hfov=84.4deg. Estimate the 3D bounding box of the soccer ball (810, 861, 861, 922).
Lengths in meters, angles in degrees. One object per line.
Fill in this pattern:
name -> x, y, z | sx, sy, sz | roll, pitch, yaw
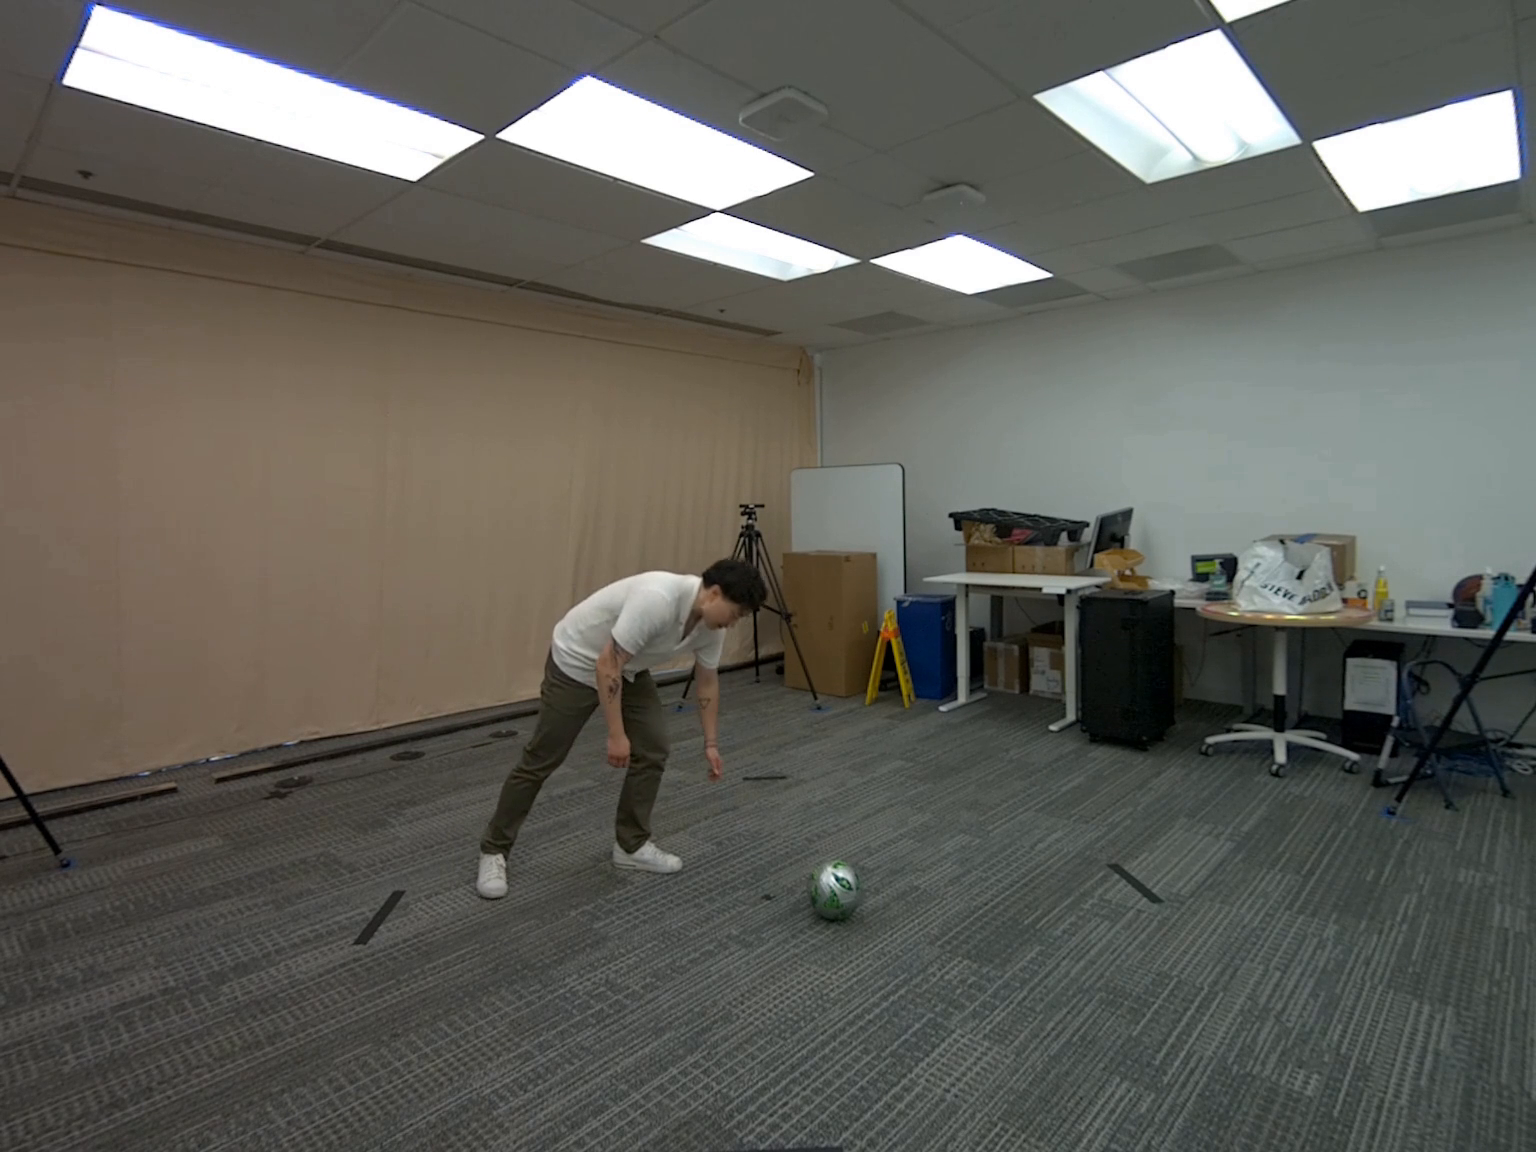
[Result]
soccer ball -> 0.229, 1.048, 2.836 | 0.187, 0.187, 0.188 | -1, 4, -2
